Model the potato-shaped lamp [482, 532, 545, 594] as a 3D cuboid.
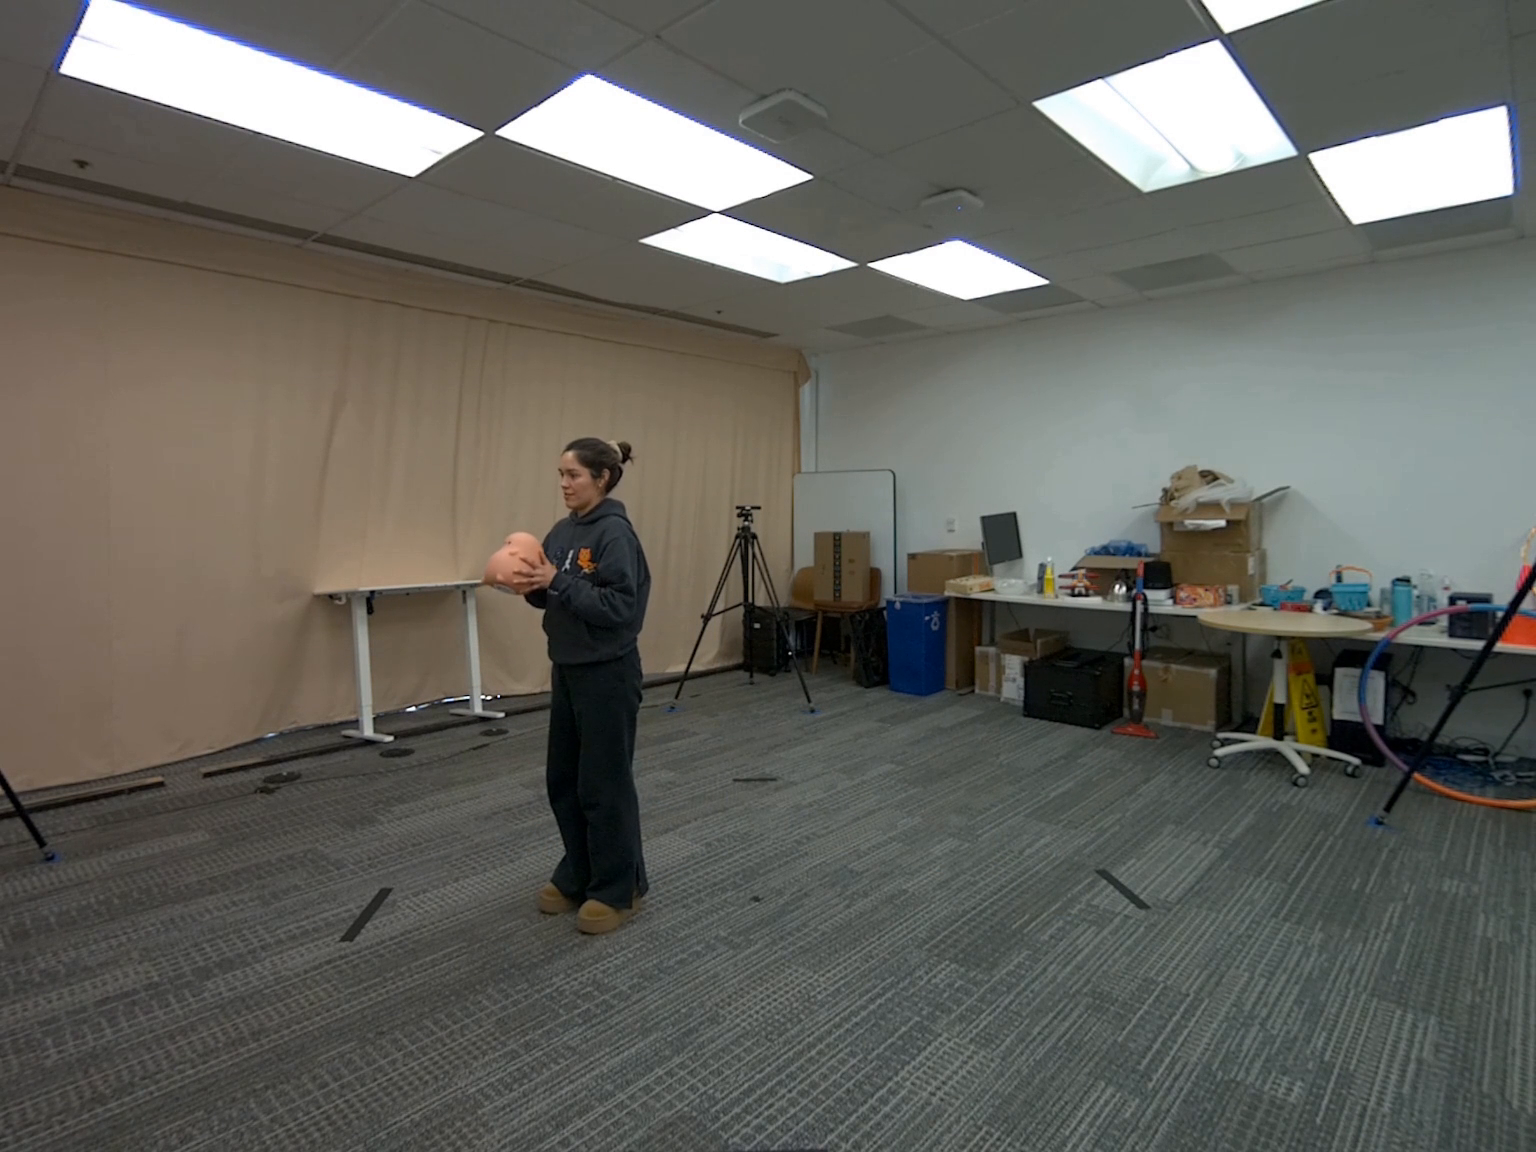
[{"bbox_3d":[-0.796,-0.038,2.699,0.165,0.199,0.169,28,-25,-38],"label":"potato-shaped lamp"}]
